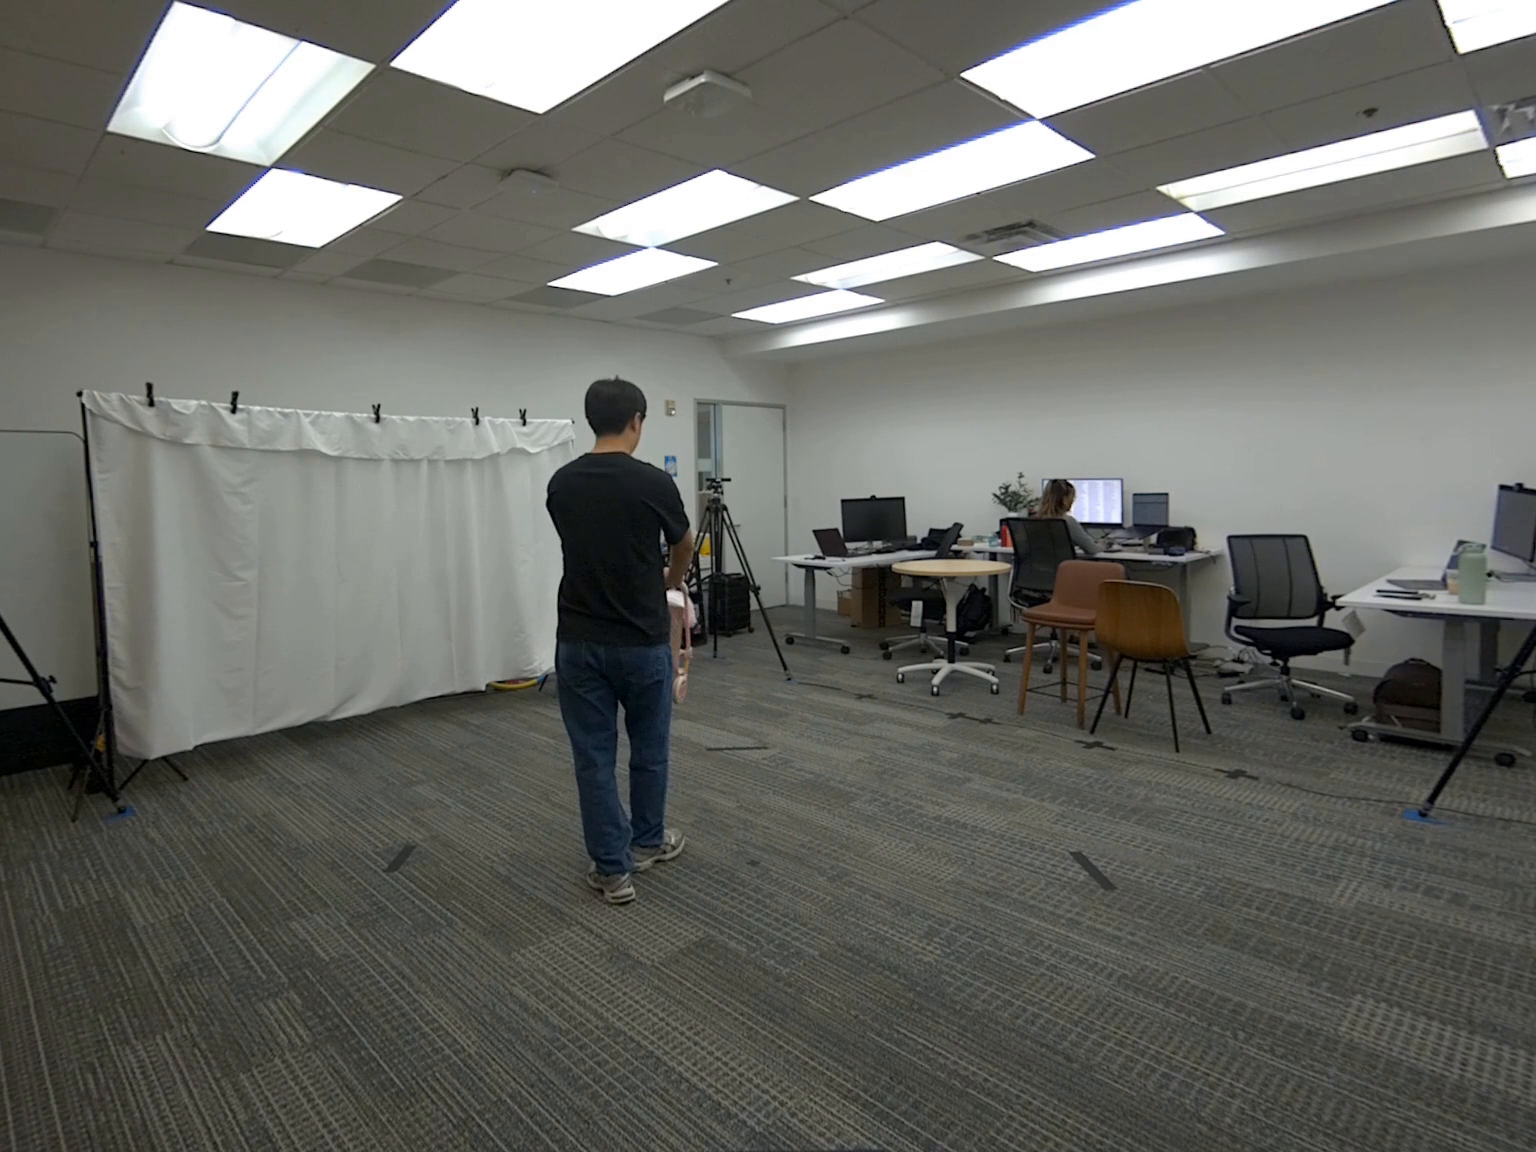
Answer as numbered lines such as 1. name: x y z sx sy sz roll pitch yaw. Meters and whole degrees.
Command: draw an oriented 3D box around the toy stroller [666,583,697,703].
1. toy stroller: -0.418 0.287 3.453 0.286 0.538 0.333 6 -7 15
